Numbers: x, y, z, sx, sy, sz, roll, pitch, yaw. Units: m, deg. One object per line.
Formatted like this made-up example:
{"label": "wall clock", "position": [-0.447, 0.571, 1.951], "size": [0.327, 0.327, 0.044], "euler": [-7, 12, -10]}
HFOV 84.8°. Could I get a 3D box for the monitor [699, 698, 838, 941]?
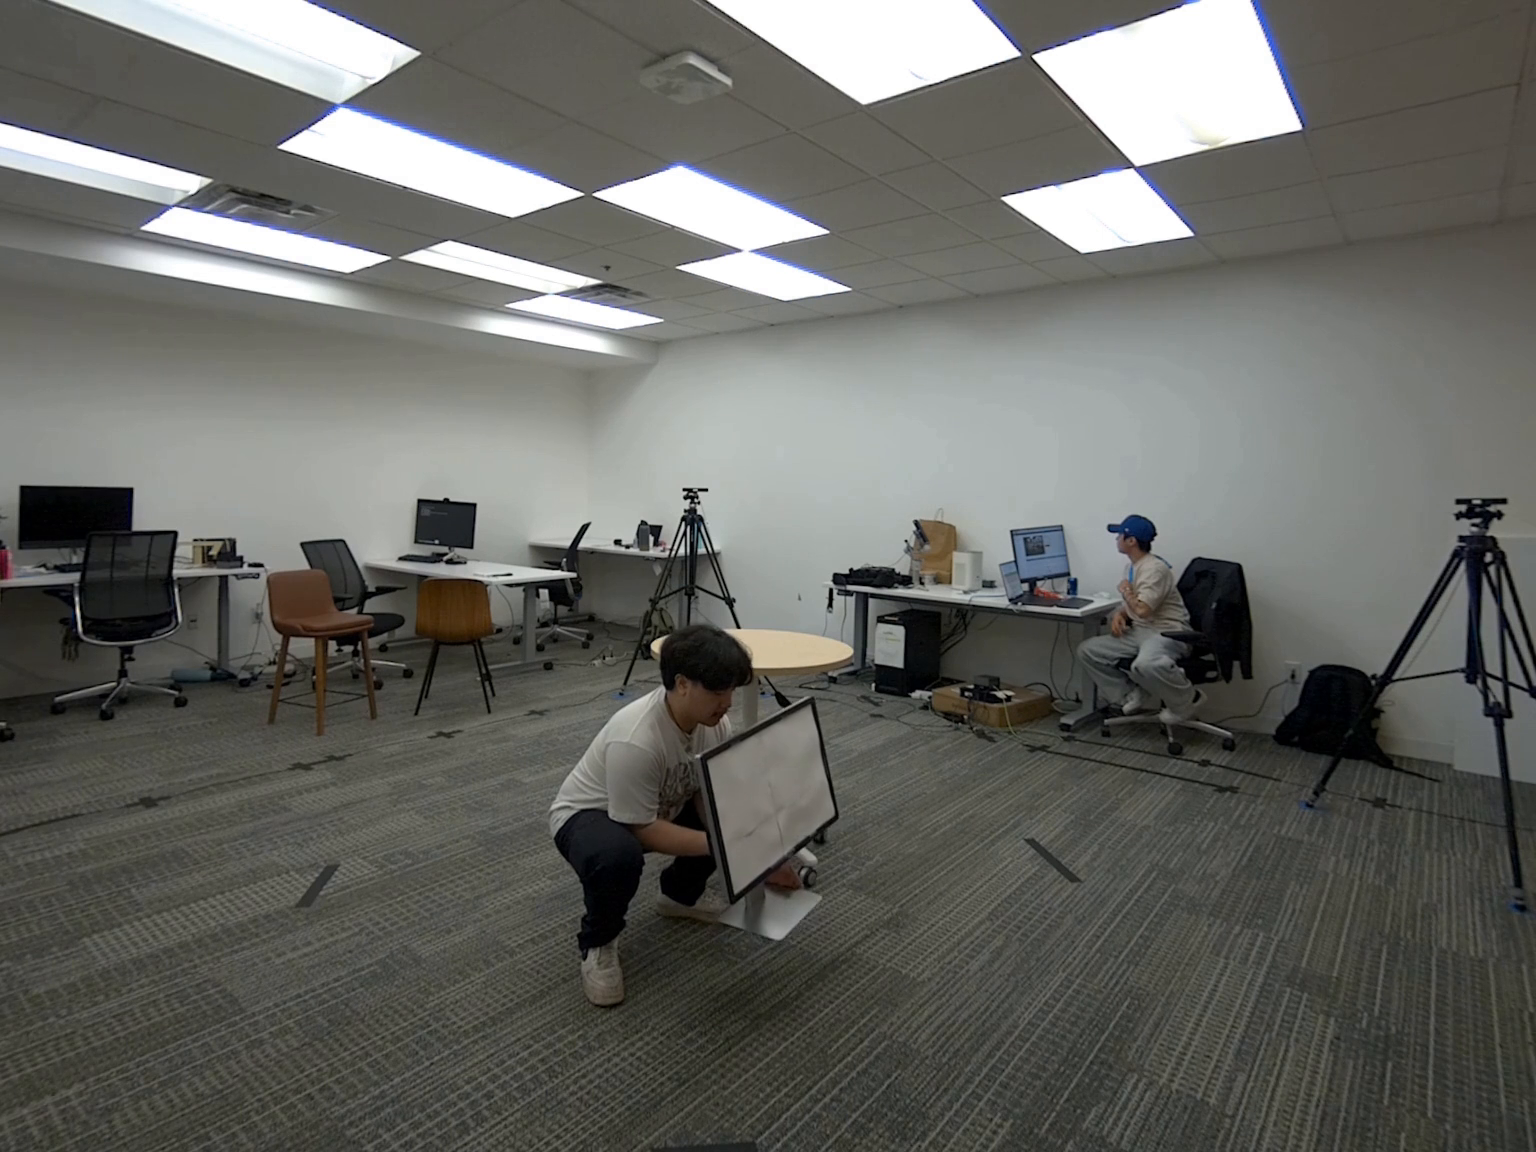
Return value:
{"label": "monitor", "position": [-0.034, 0.661, 2.307], "size": [0.216, 0.552, 0.552], "euler": [-5, 4, 34]}
